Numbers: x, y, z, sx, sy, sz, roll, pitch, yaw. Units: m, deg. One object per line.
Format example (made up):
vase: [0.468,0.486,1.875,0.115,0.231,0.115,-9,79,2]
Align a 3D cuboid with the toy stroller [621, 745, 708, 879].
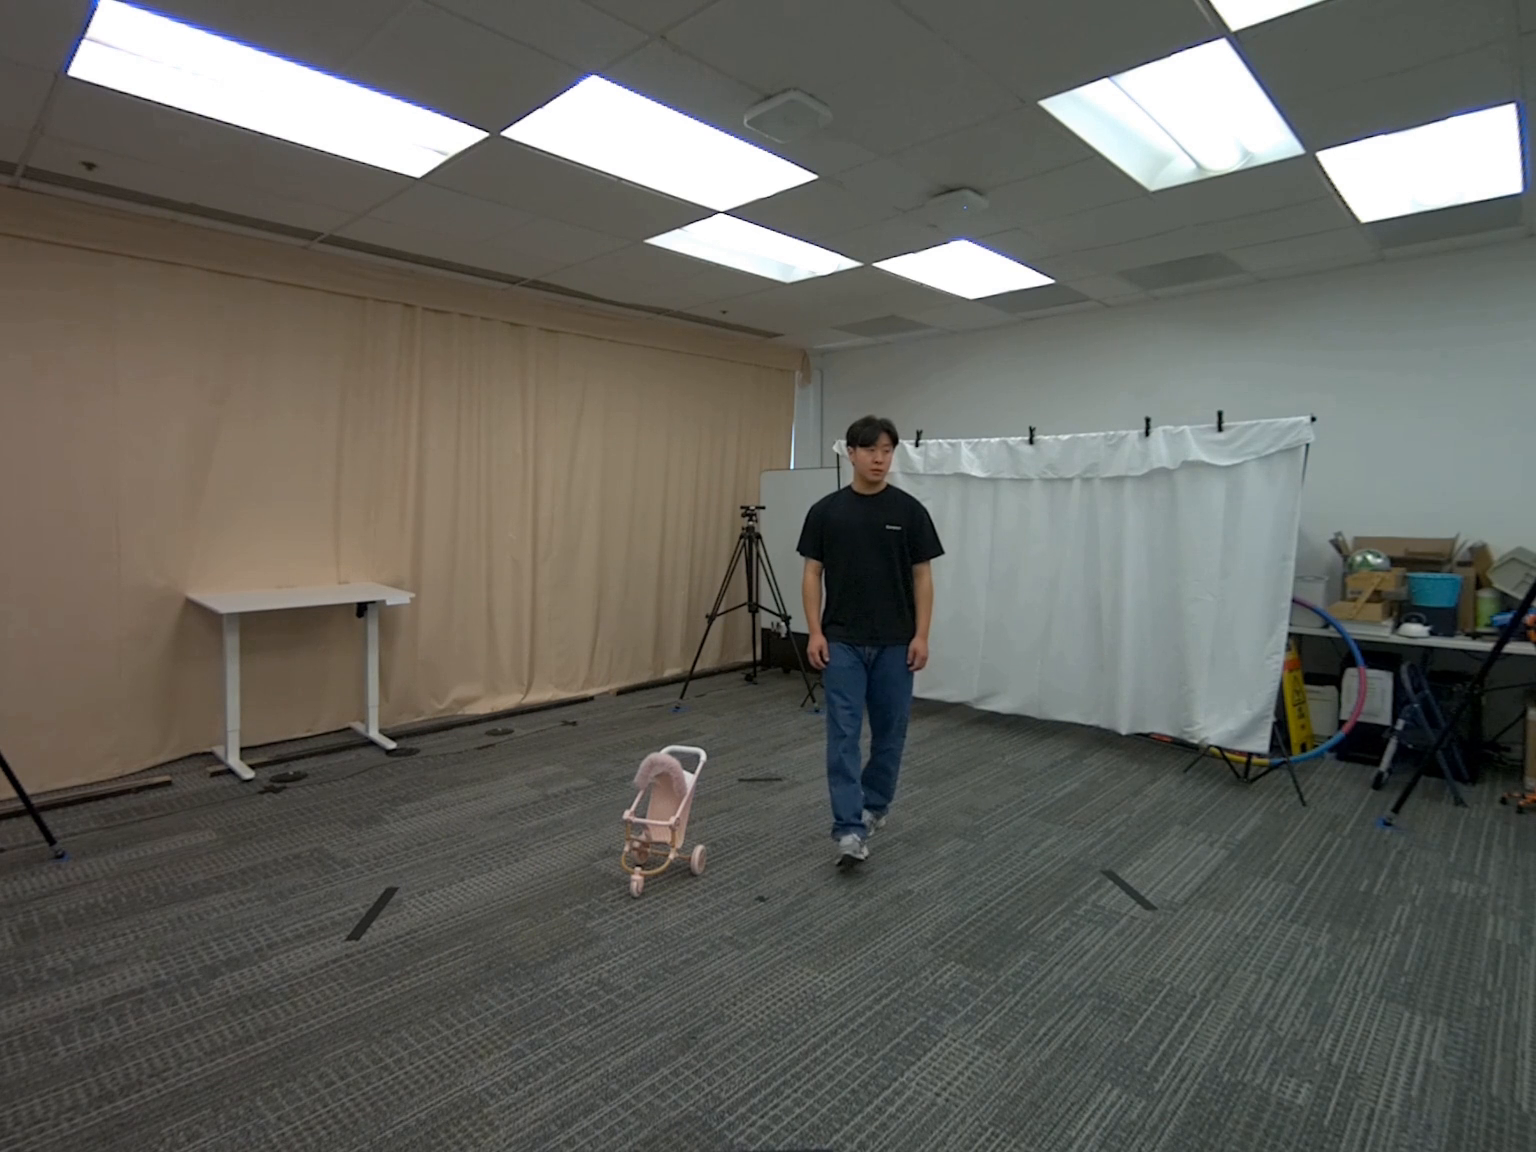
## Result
toy stroller: [-0.405,0.907,3.167,0.289,0.538,0.330,0,-13,26]
